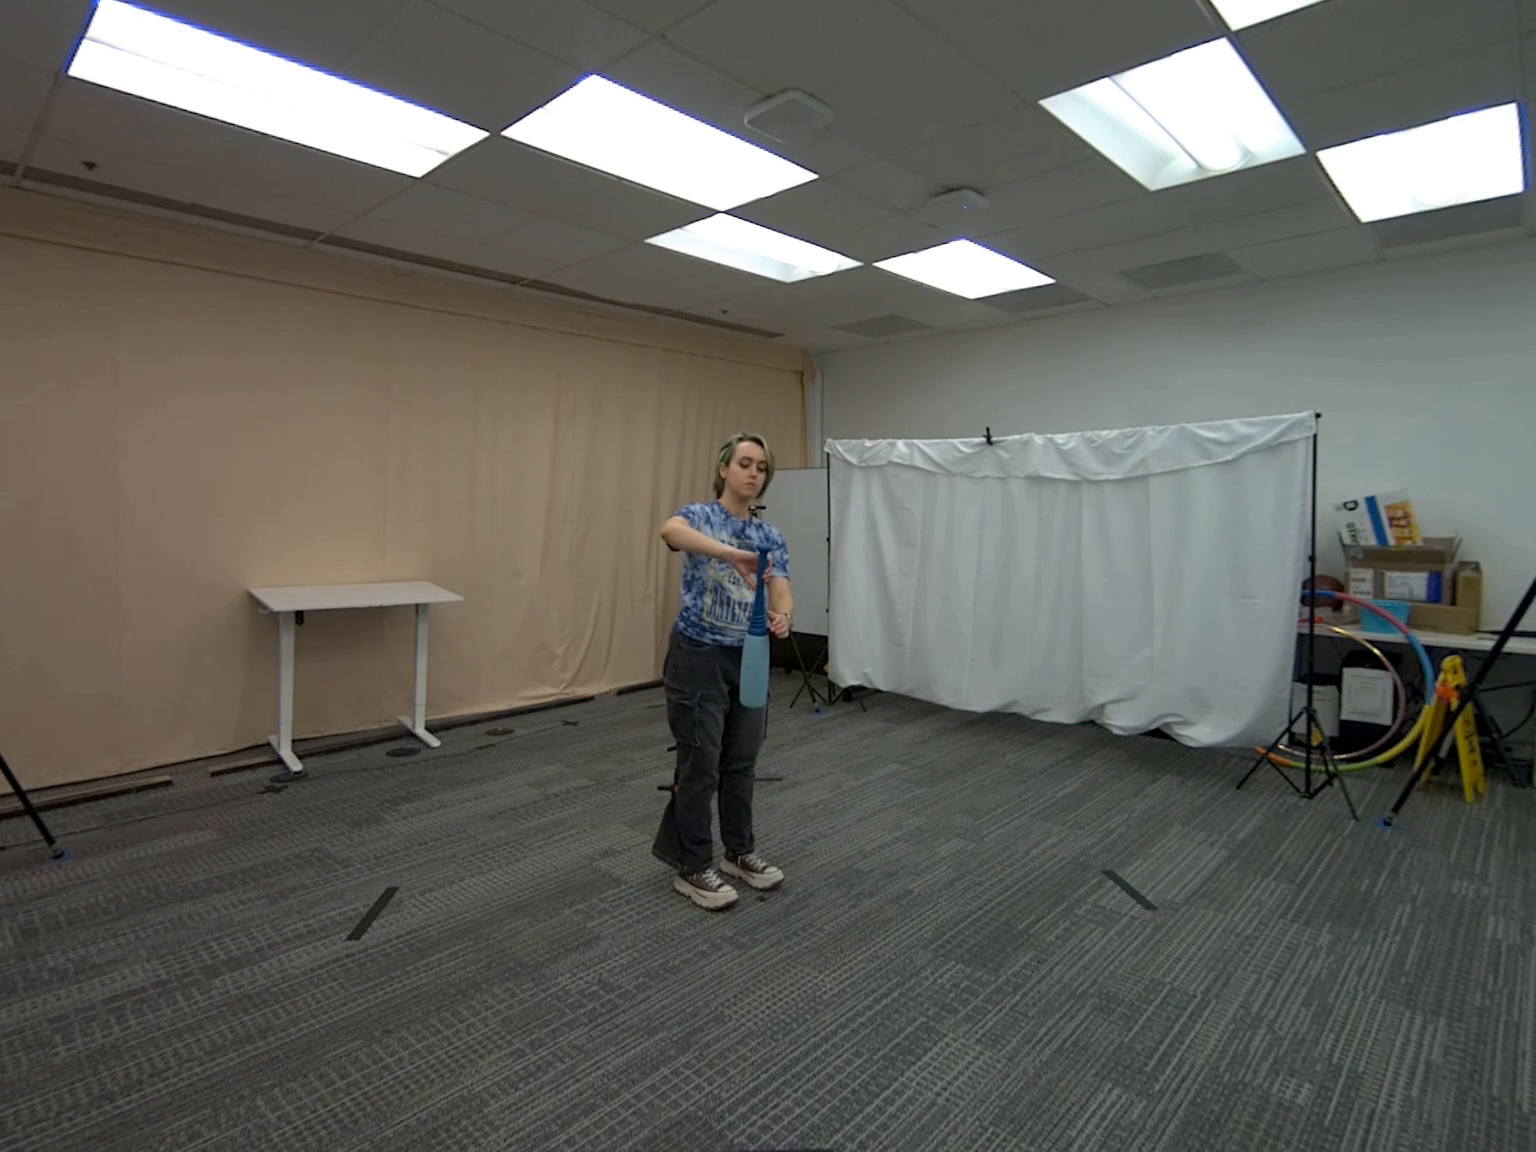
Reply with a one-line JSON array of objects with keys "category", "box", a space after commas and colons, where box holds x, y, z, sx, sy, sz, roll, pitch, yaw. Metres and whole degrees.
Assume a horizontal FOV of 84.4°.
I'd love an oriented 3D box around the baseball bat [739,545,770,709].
[{"category": "baseball bat", "box": [-0.037, 0.158, 2.655, 0.089, 0.538, 0.090, 3, 17, -3]}]
